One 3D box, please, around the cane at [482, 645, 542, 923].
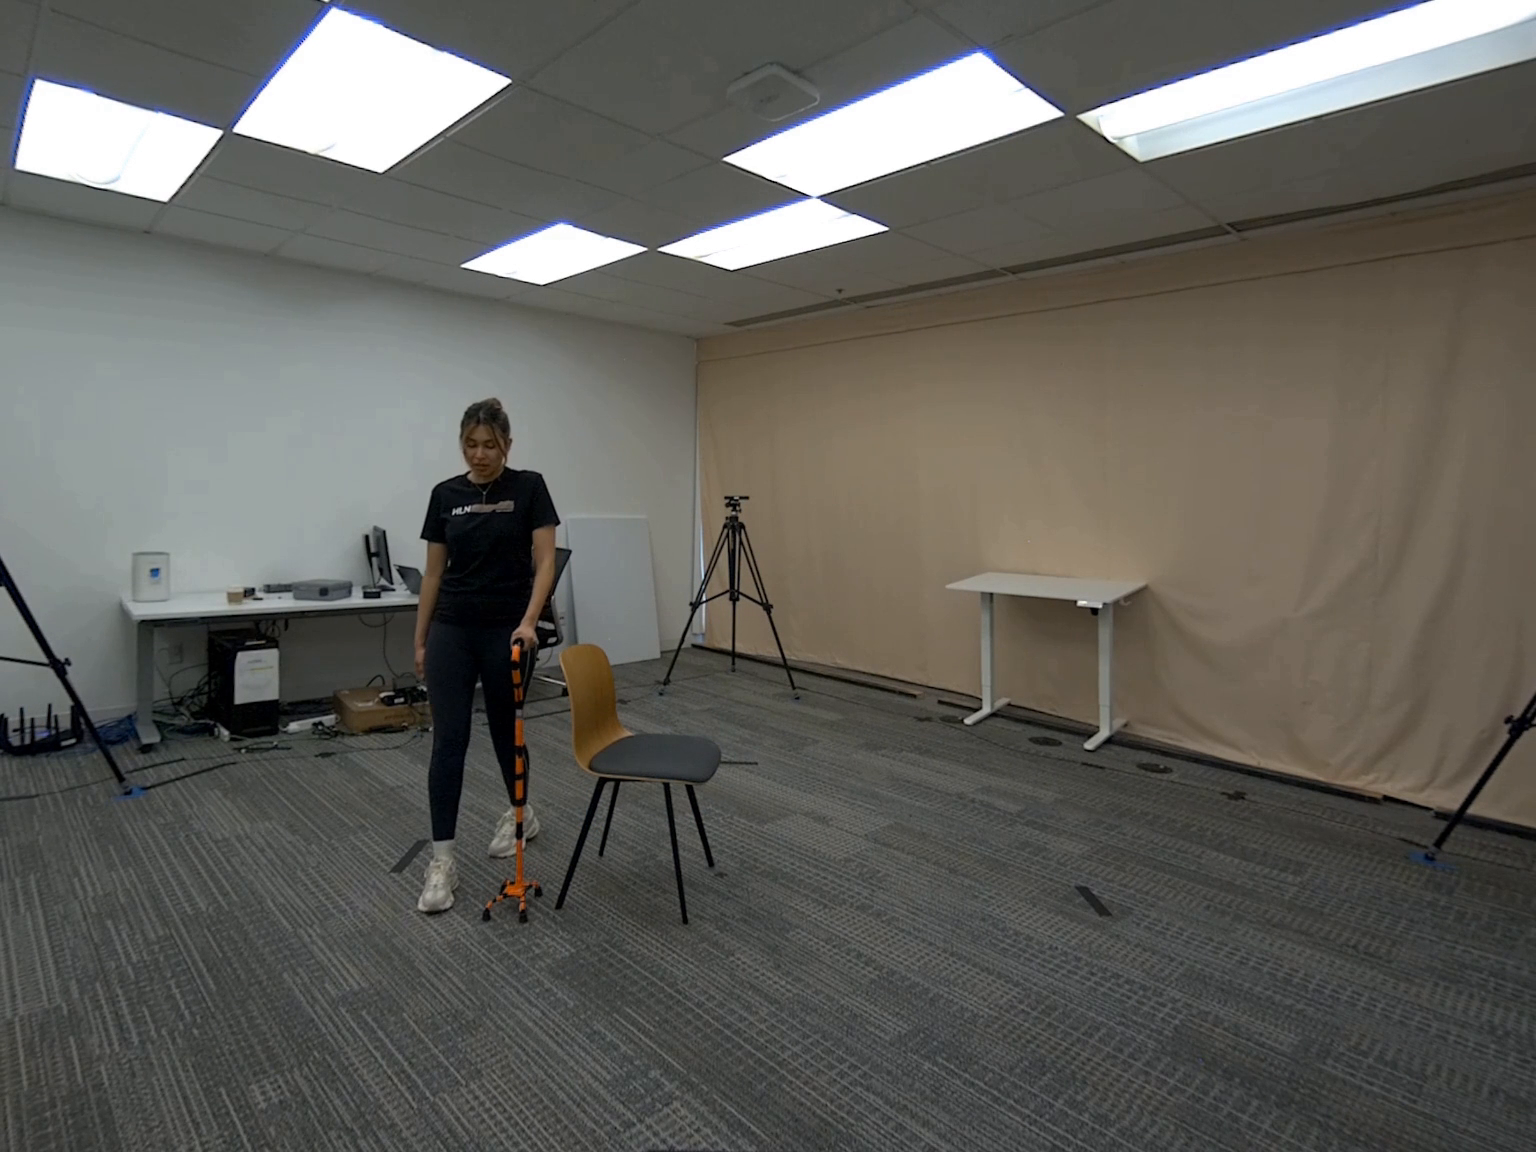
[{"bbox_3d":[-0.846,0.660,2.798,0.152,0.906,0.206,2,3,2],"label":"cane"}]
